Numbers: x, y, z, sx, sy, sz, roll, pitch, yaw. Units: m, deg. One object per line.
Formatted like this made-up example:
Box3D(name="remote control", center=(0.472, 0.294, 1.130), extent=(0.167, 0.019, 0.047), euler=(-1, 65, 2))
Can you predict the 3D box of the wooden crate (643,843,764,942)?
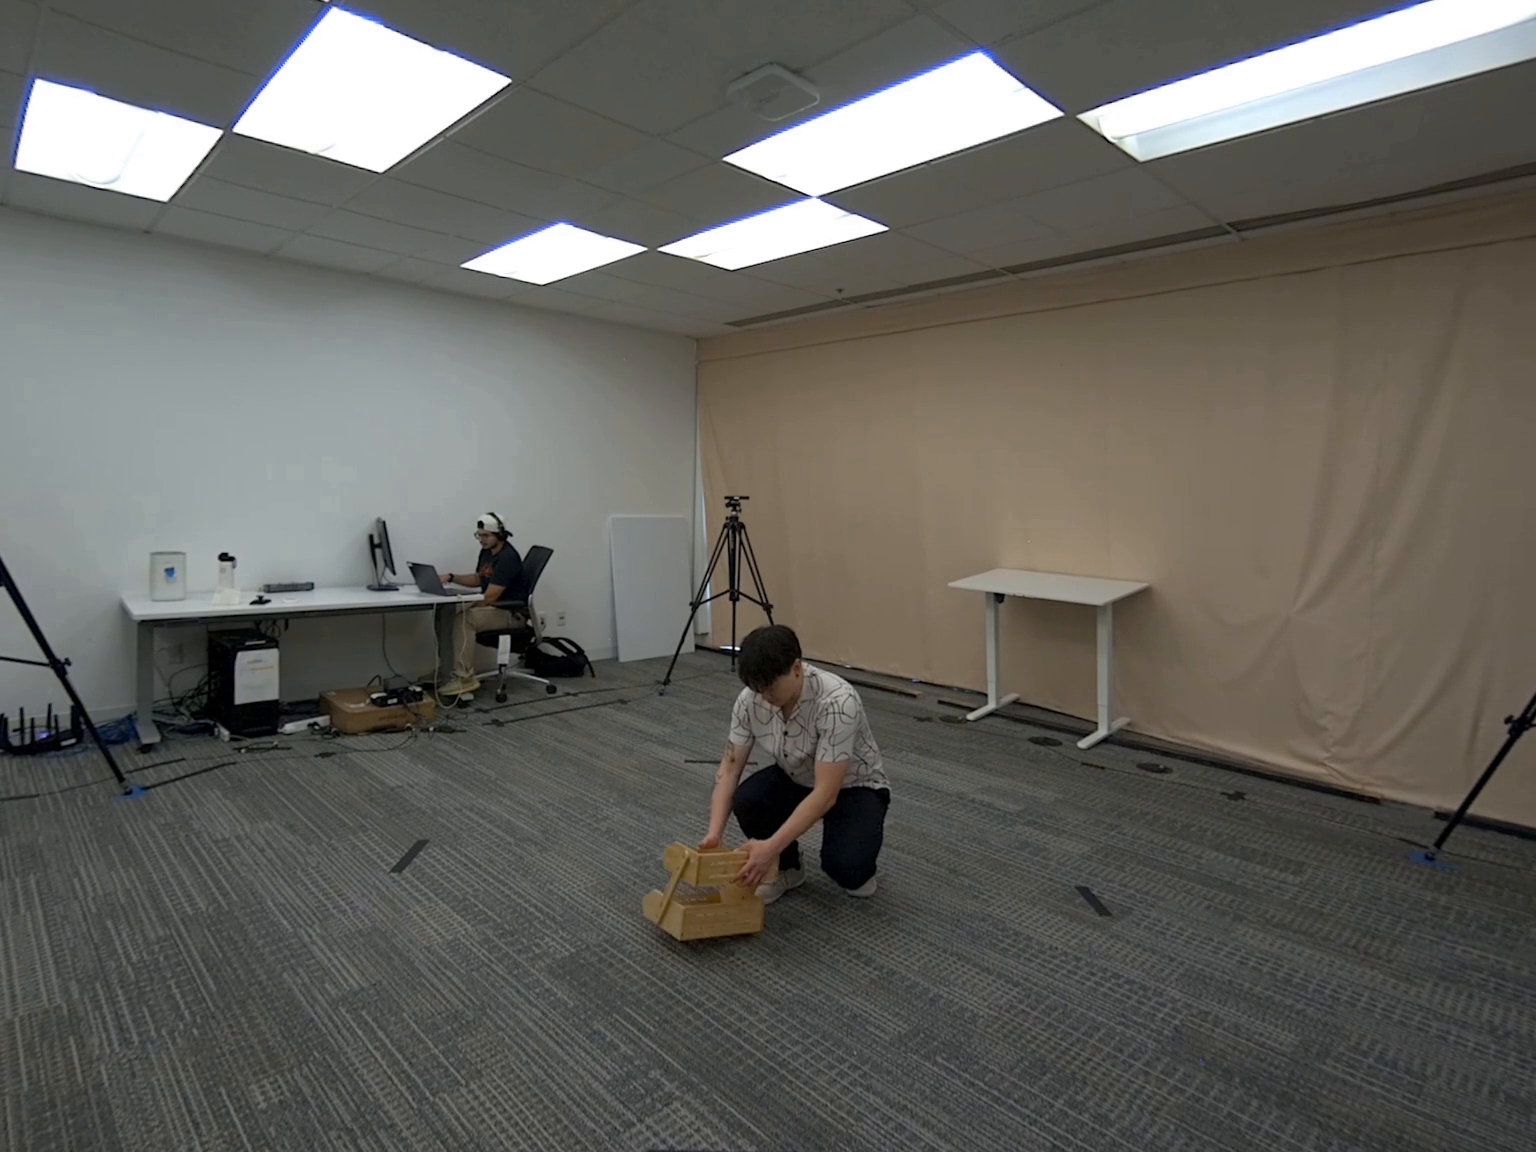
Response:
Box3D(name="wooden crate", center=(-0.191, 0.954, 2.656), extent=(0.316, 0.274, 0.308), euler=(10, -6, -35))
